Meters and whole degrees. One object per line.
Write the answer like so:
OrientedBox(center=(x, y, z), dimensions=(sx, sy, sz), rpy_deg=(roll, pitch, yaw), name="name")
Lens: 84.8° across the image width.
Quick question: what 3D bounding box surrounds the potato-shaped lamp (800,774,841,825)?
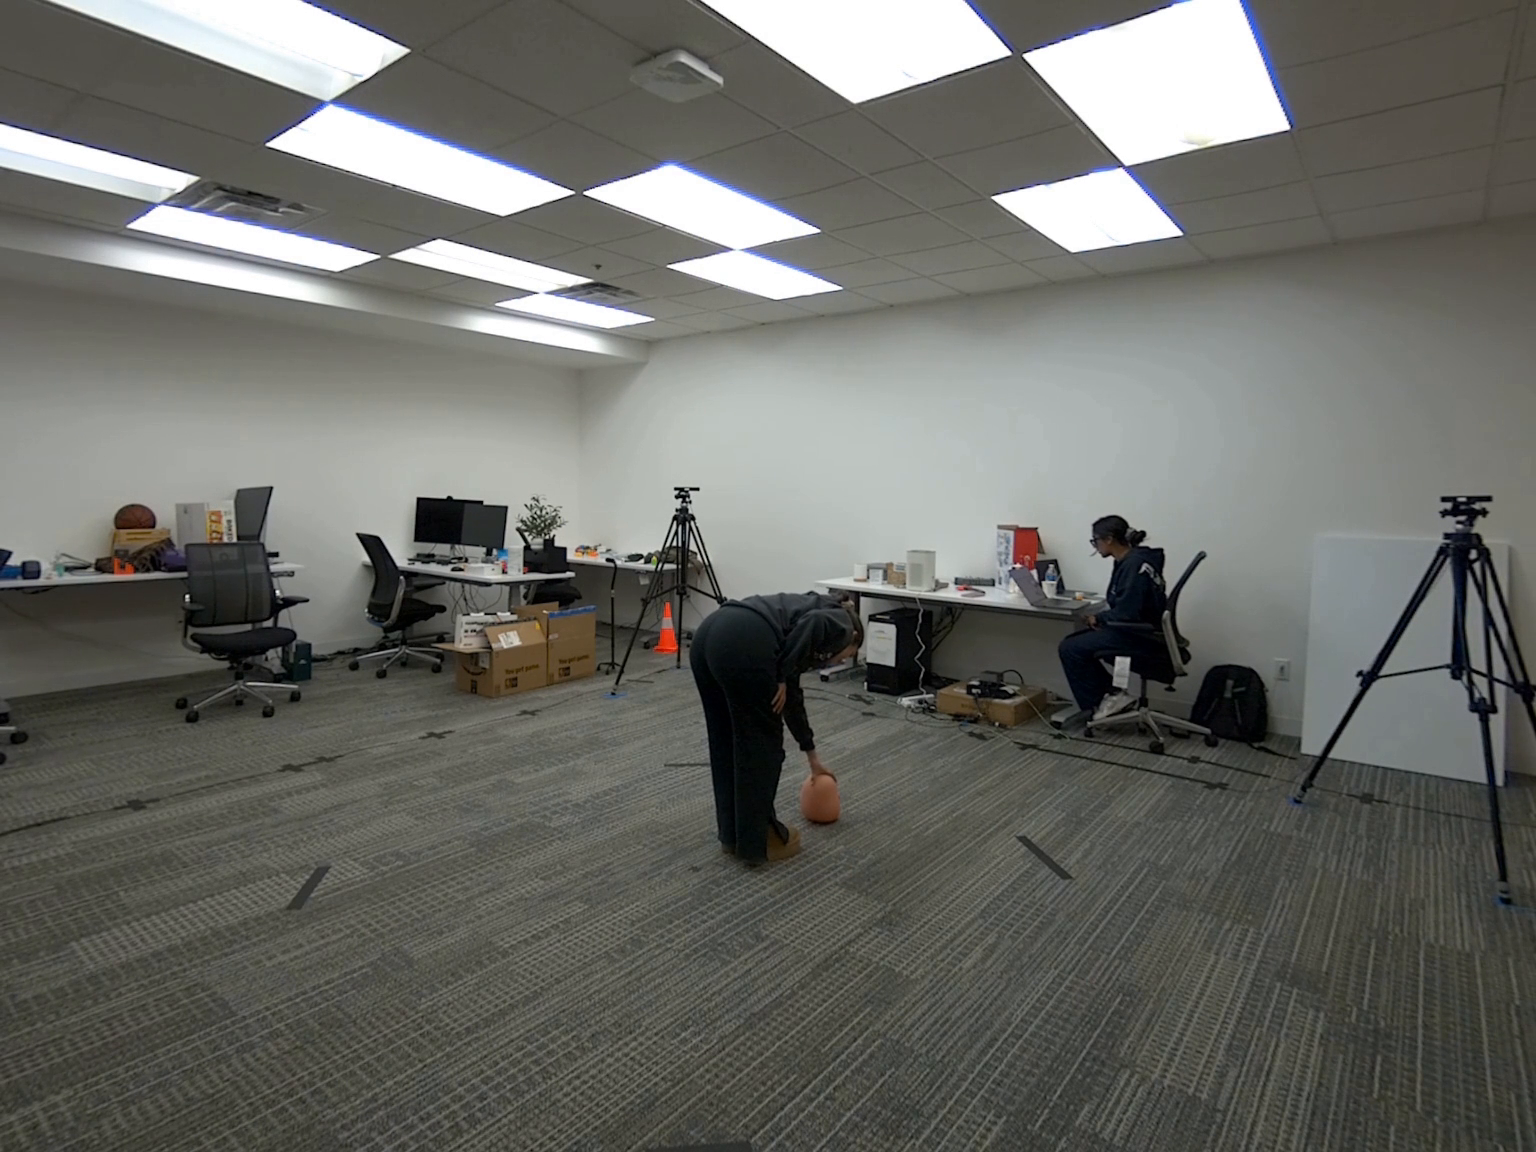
OrientedBox(center=(0.223, 0.927, 3.602), dimensions=(0.170, 0.197, 0.166), rpy_deg=(8, 9, 44), name="potato-shaped lamp")
